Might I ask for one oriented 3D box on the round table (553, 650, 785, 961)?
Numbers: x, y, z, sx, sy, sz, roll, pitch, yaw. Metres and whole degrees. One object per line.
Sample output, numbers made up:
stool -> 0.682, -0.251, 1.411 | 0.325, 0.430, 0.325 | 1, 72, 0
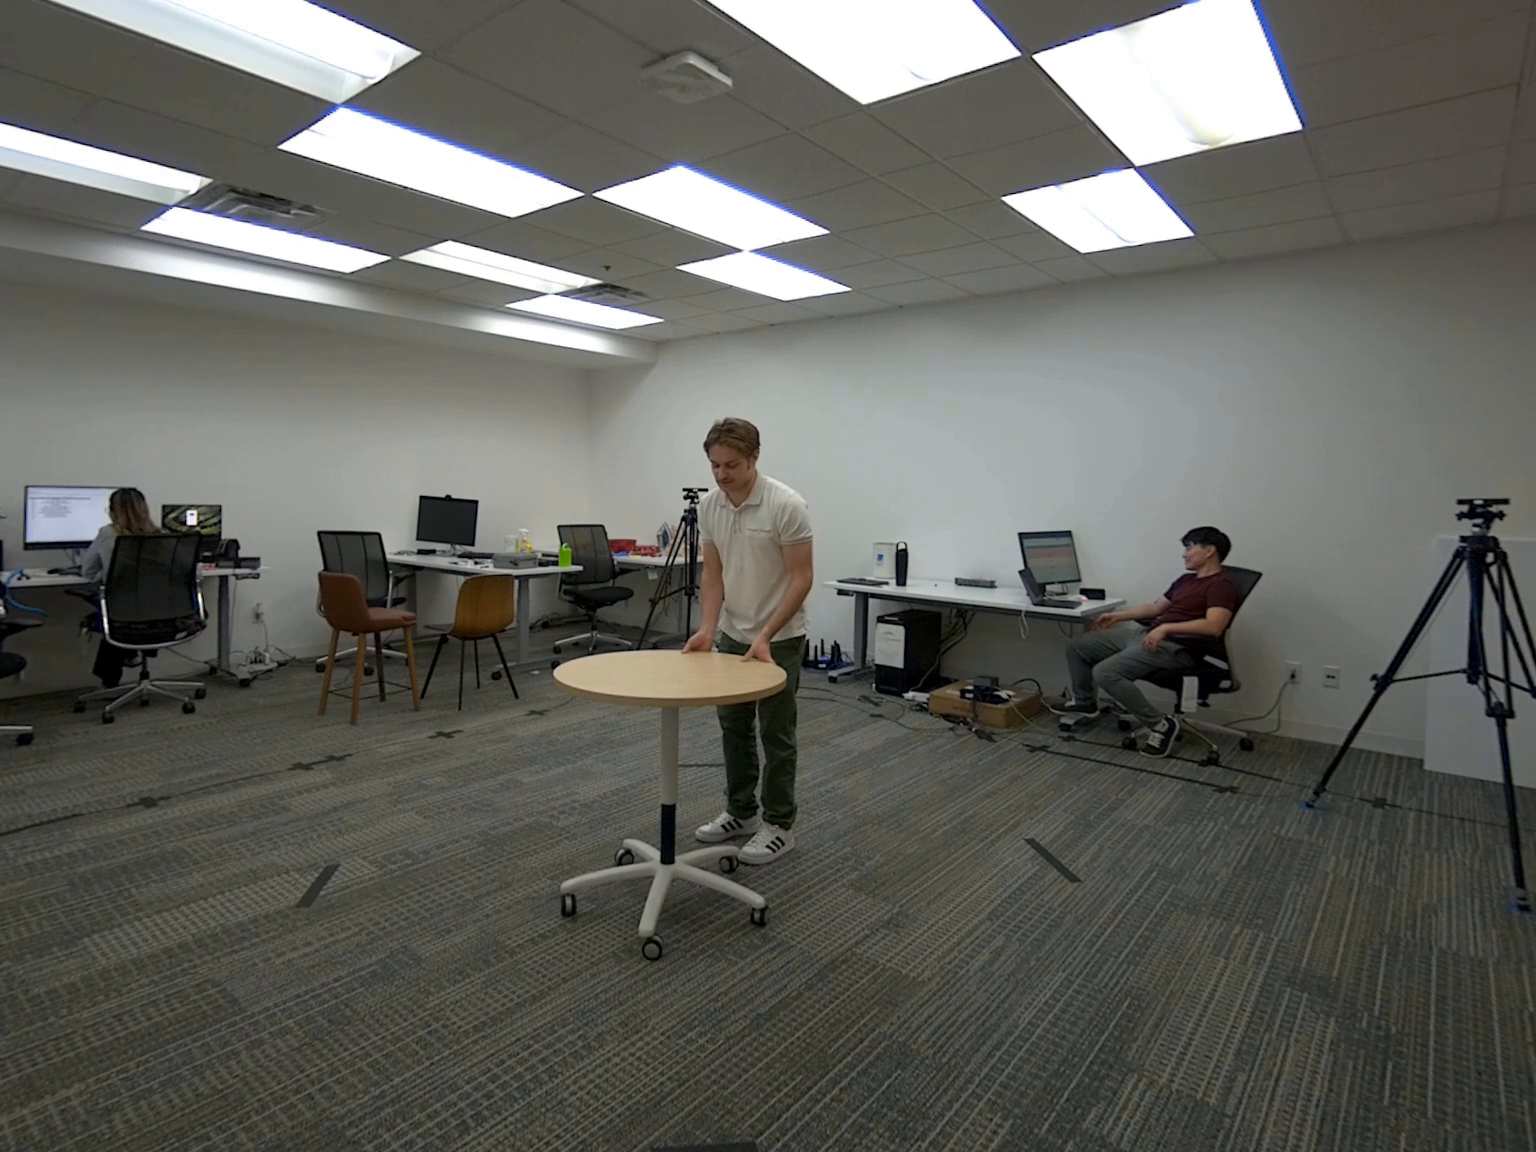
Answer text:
round table -> -0.342, 0.704, 2.826 | 0.763, 0.792, 0.767 | 1, 3, -2
